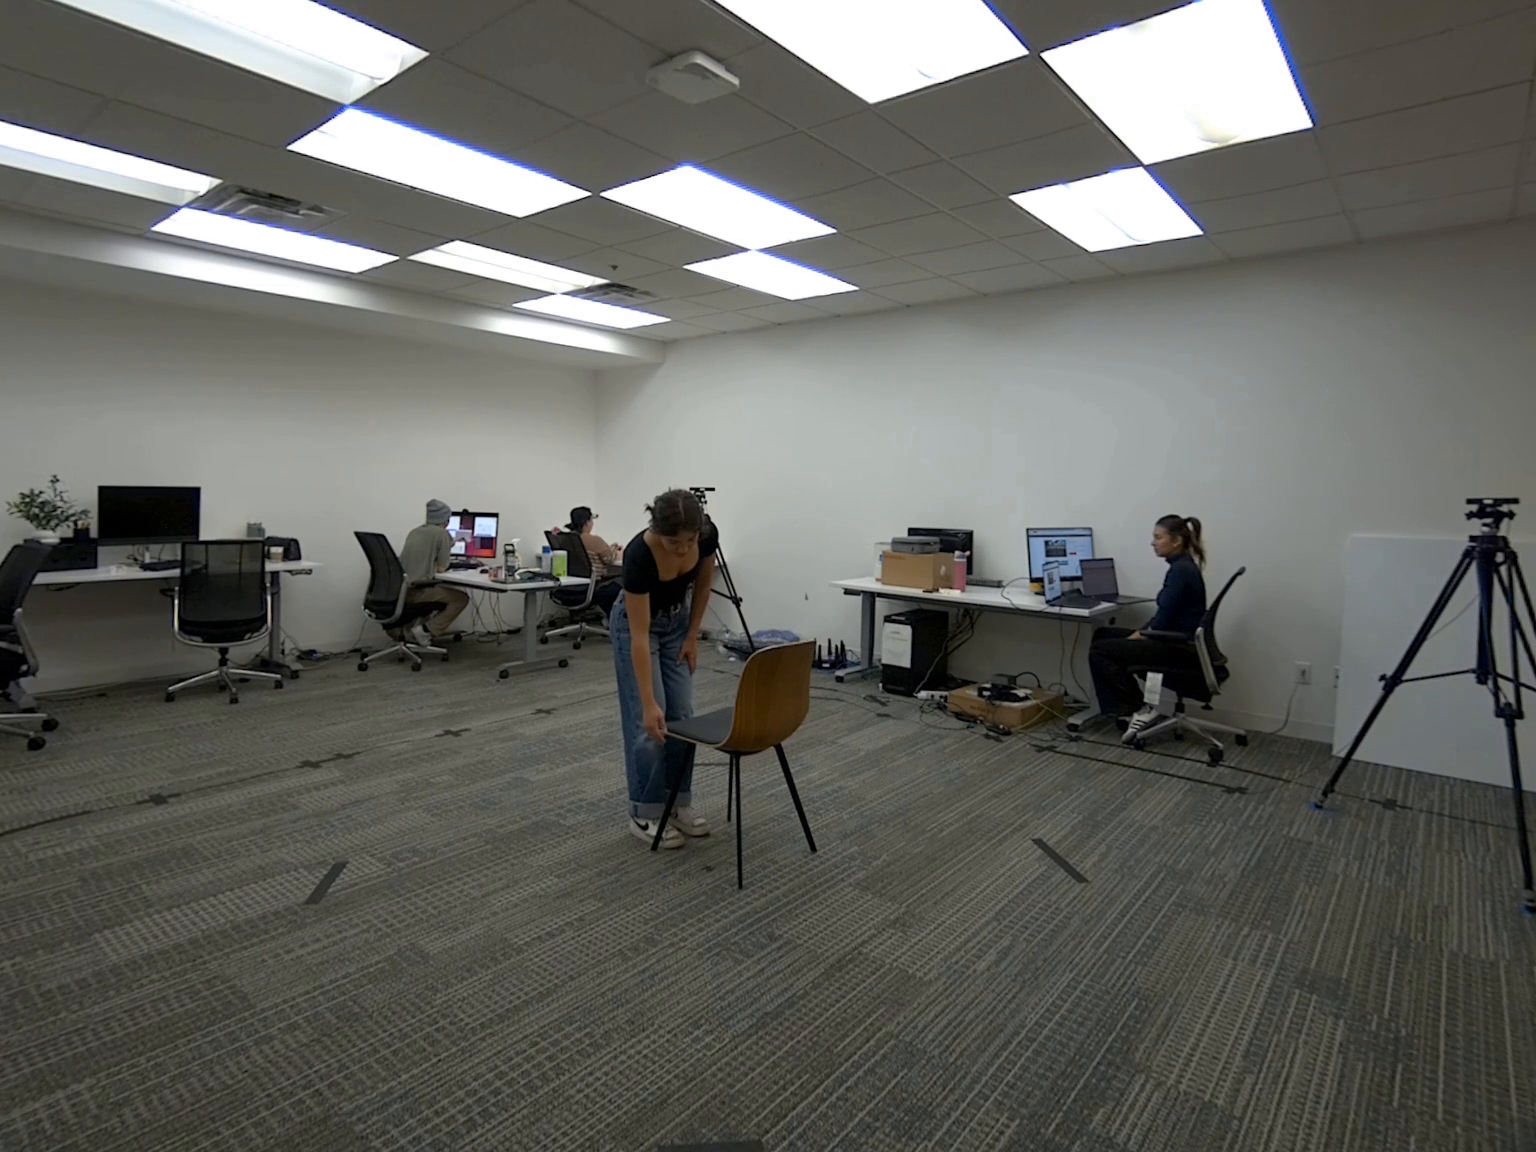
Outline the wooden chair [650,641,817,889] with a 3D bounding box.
[{"bbox_3d":[-0.133,0.629,3.236,0.542,0.873,0.464,9,8,40],"label":"wooden chair"}]
